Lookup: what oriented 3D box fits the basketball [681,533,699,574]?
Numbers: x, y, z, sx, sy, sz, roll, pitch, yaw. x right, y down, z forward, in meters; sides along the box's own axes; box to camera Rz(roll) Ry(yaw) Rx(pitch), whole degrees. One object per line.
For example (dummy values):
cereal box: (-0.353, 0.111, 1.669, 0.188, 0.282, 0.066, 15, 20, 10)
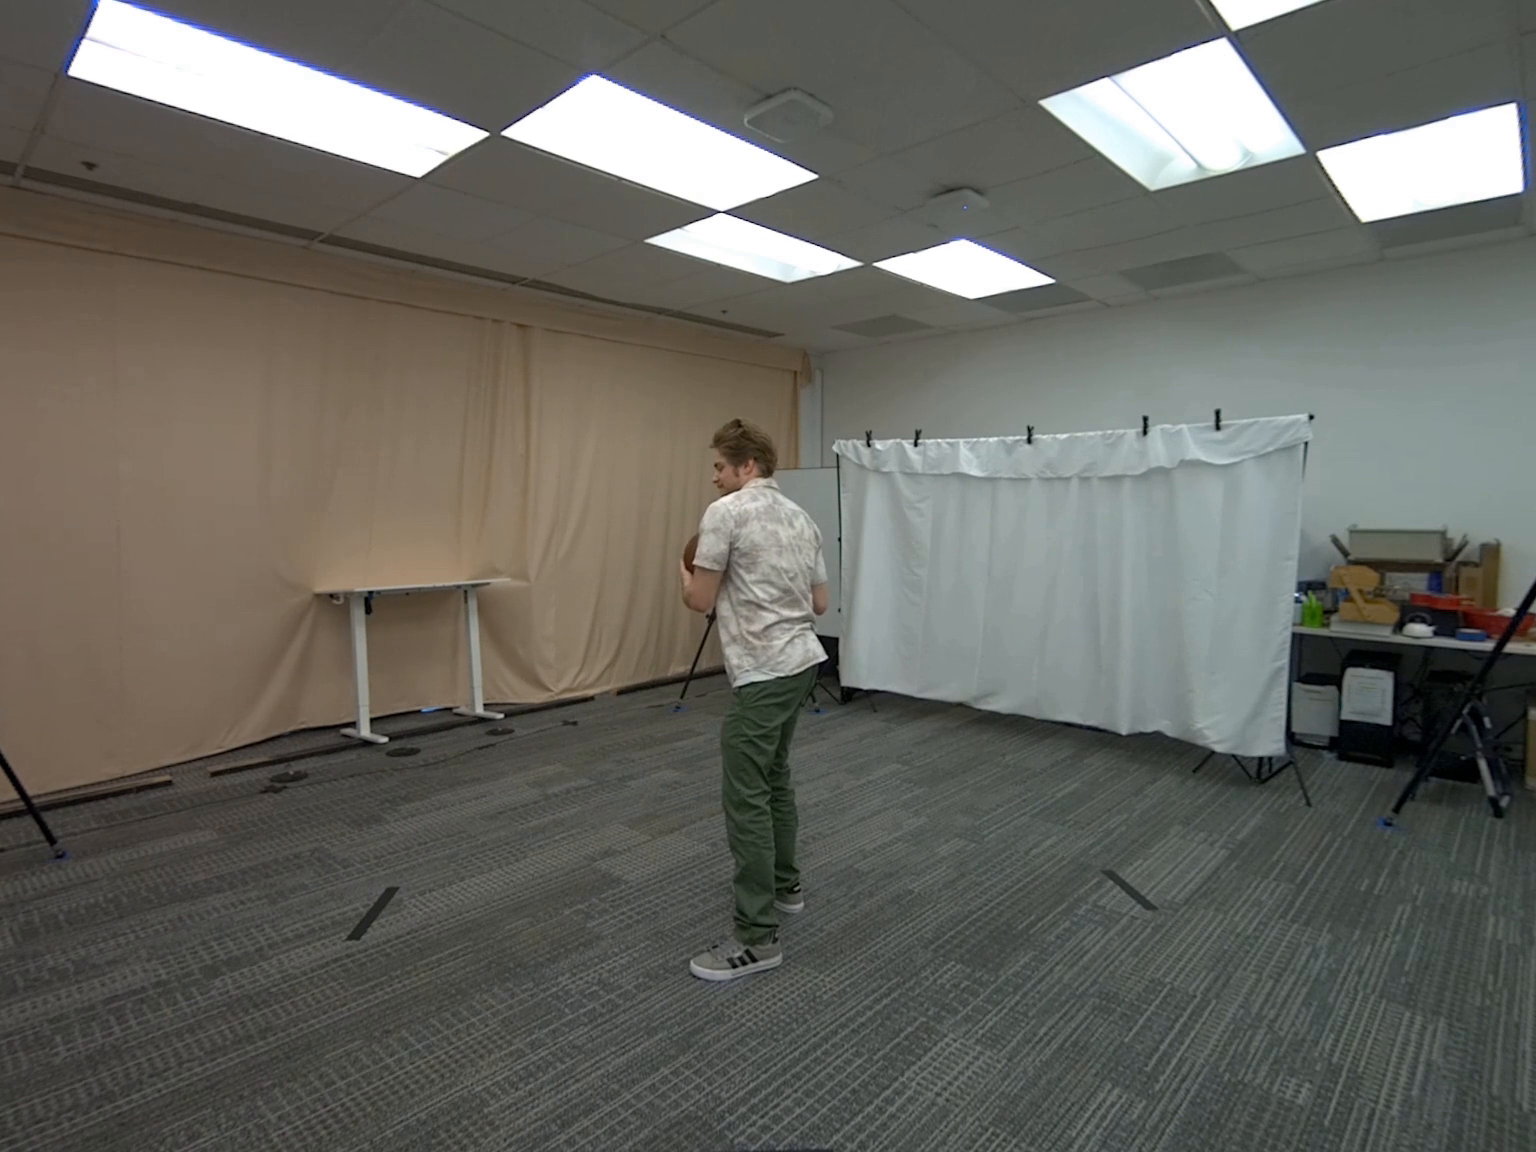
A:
basketball: (-0.202, -0.037, 3.088, 0.236, 0.235, 0.237, 0, 4, -2)
